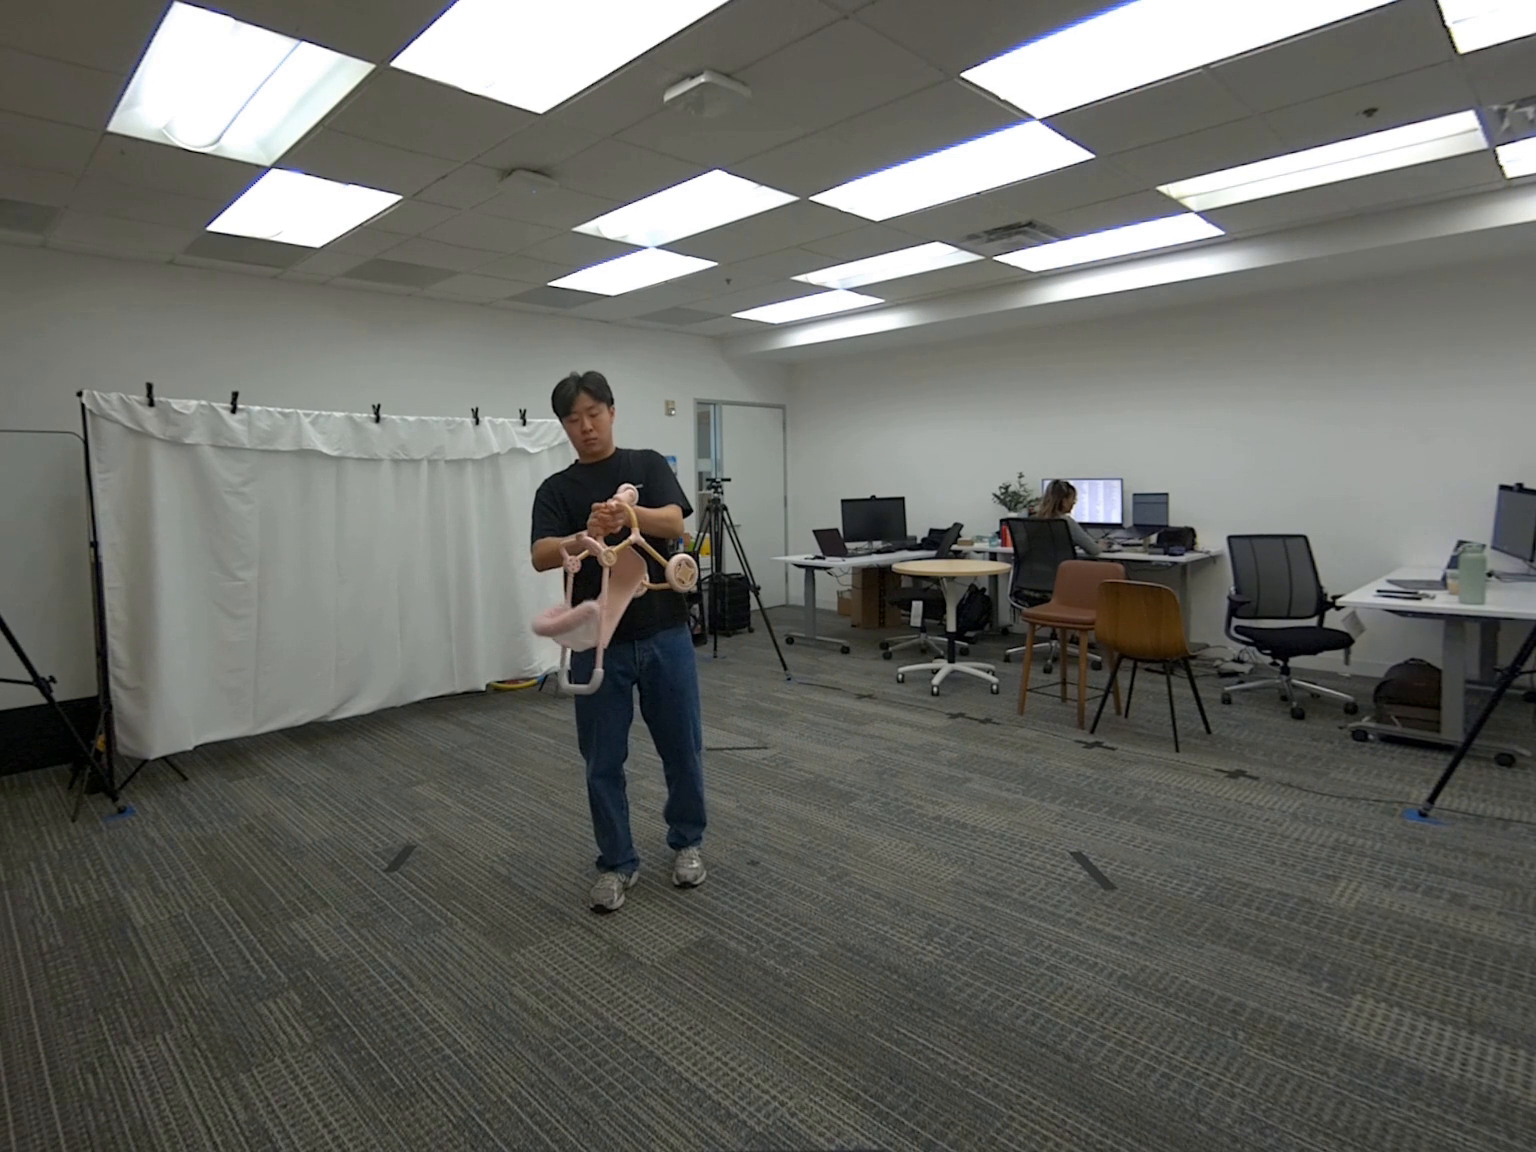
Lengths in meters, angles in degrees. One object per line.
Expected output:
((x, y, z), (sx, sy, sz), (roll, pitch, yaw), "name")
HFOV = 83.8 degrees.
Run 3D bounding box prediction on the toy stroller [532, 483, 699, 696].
((-0.456, 0.022, 2.388), (0.289, 0.331, 0.536), (-4, 39, 46), "toy stroller")
